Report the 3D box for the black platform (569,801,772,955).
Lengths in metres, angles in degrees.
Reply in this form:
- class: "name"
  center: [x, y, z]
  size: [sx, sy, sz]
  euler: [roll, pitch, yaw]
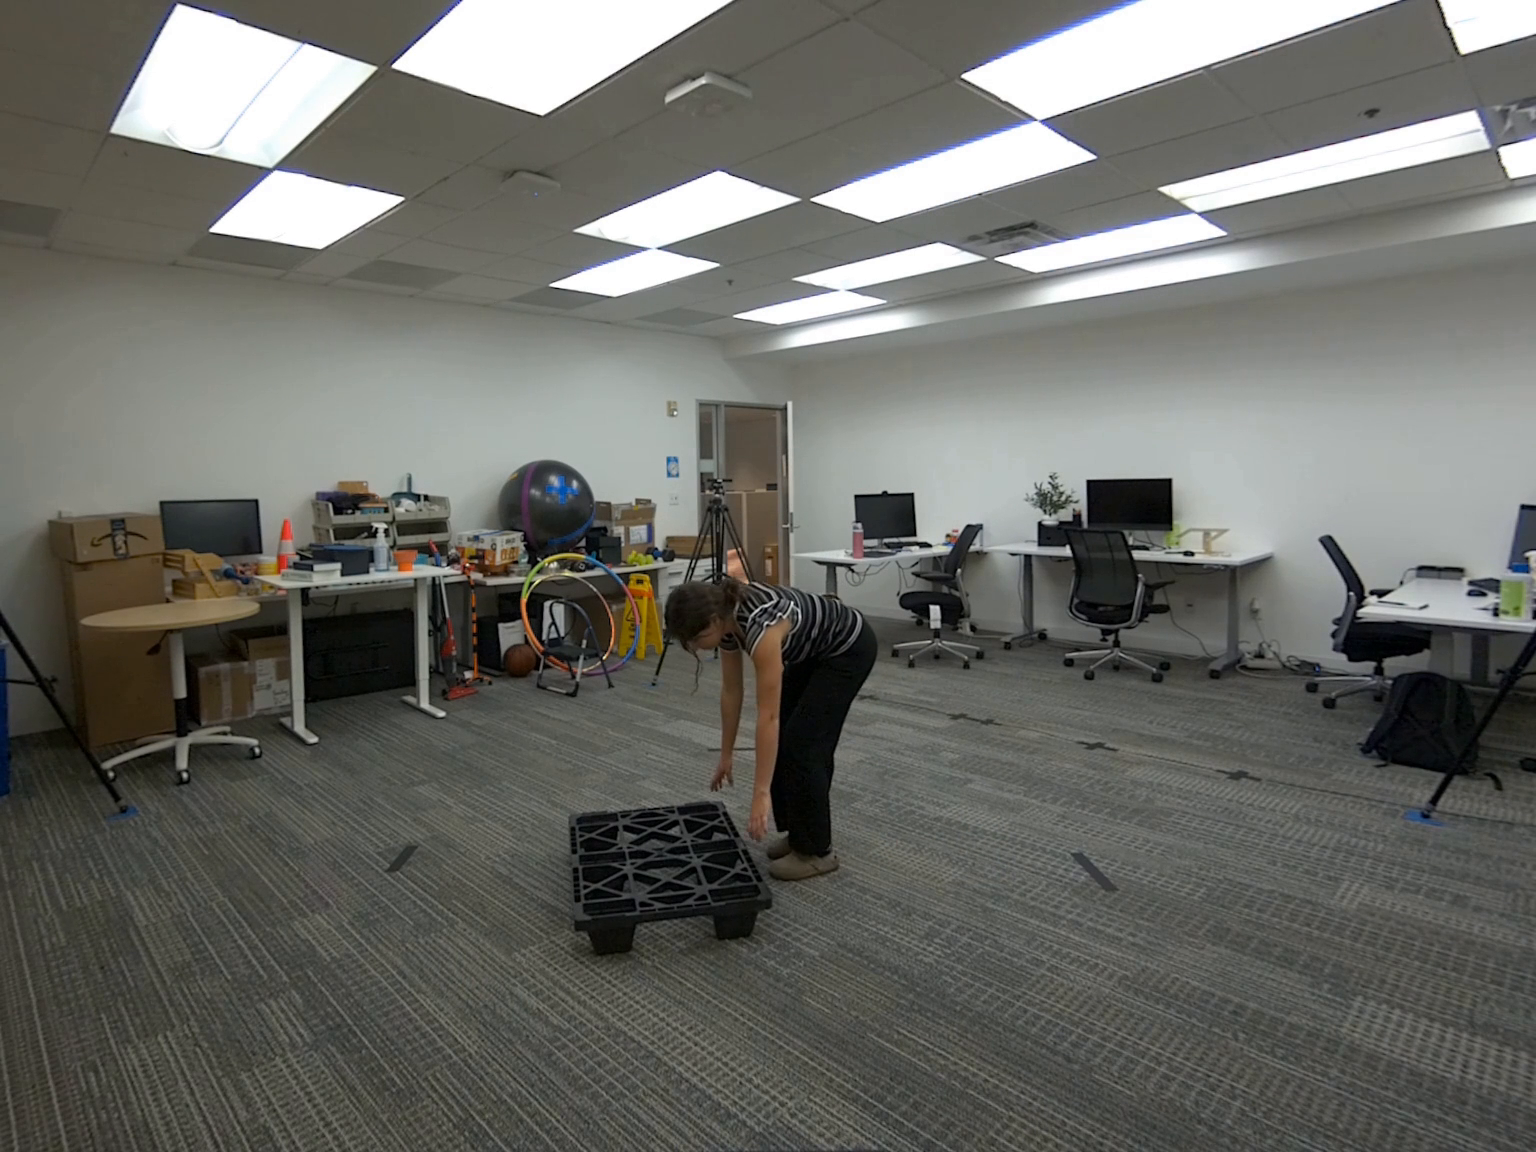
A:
- class: "black platform"
  center: [-0.369, 1.005, 2.918]
  size: [0.598, 0.142, 0.819]
  euler: [-3, 7, -13]
